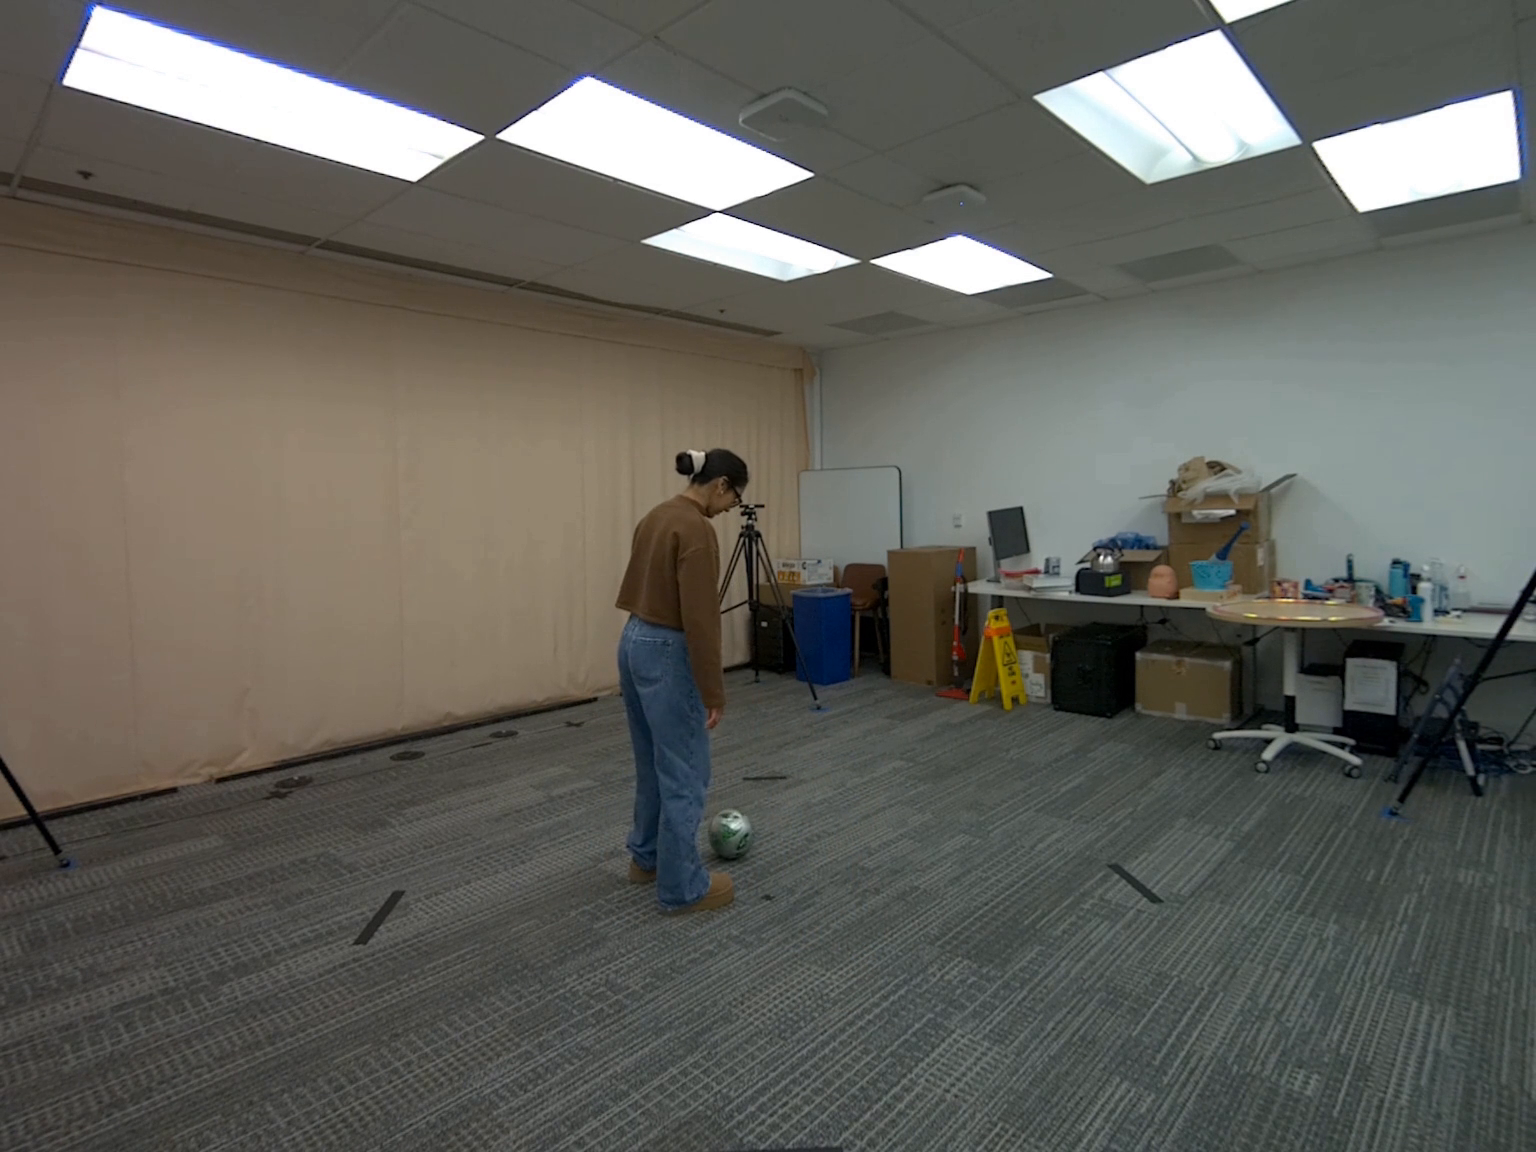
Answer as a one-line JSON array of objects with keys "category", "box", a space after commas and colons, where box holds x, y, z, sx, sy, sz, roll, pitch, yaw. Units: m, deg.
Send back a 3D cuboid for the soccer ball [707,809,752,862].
[{"category": "soccer ball", "box": [-0.146, 1.017, 3.320, 0.187, 0.187, 0.188, -1, 4, -2]}]
